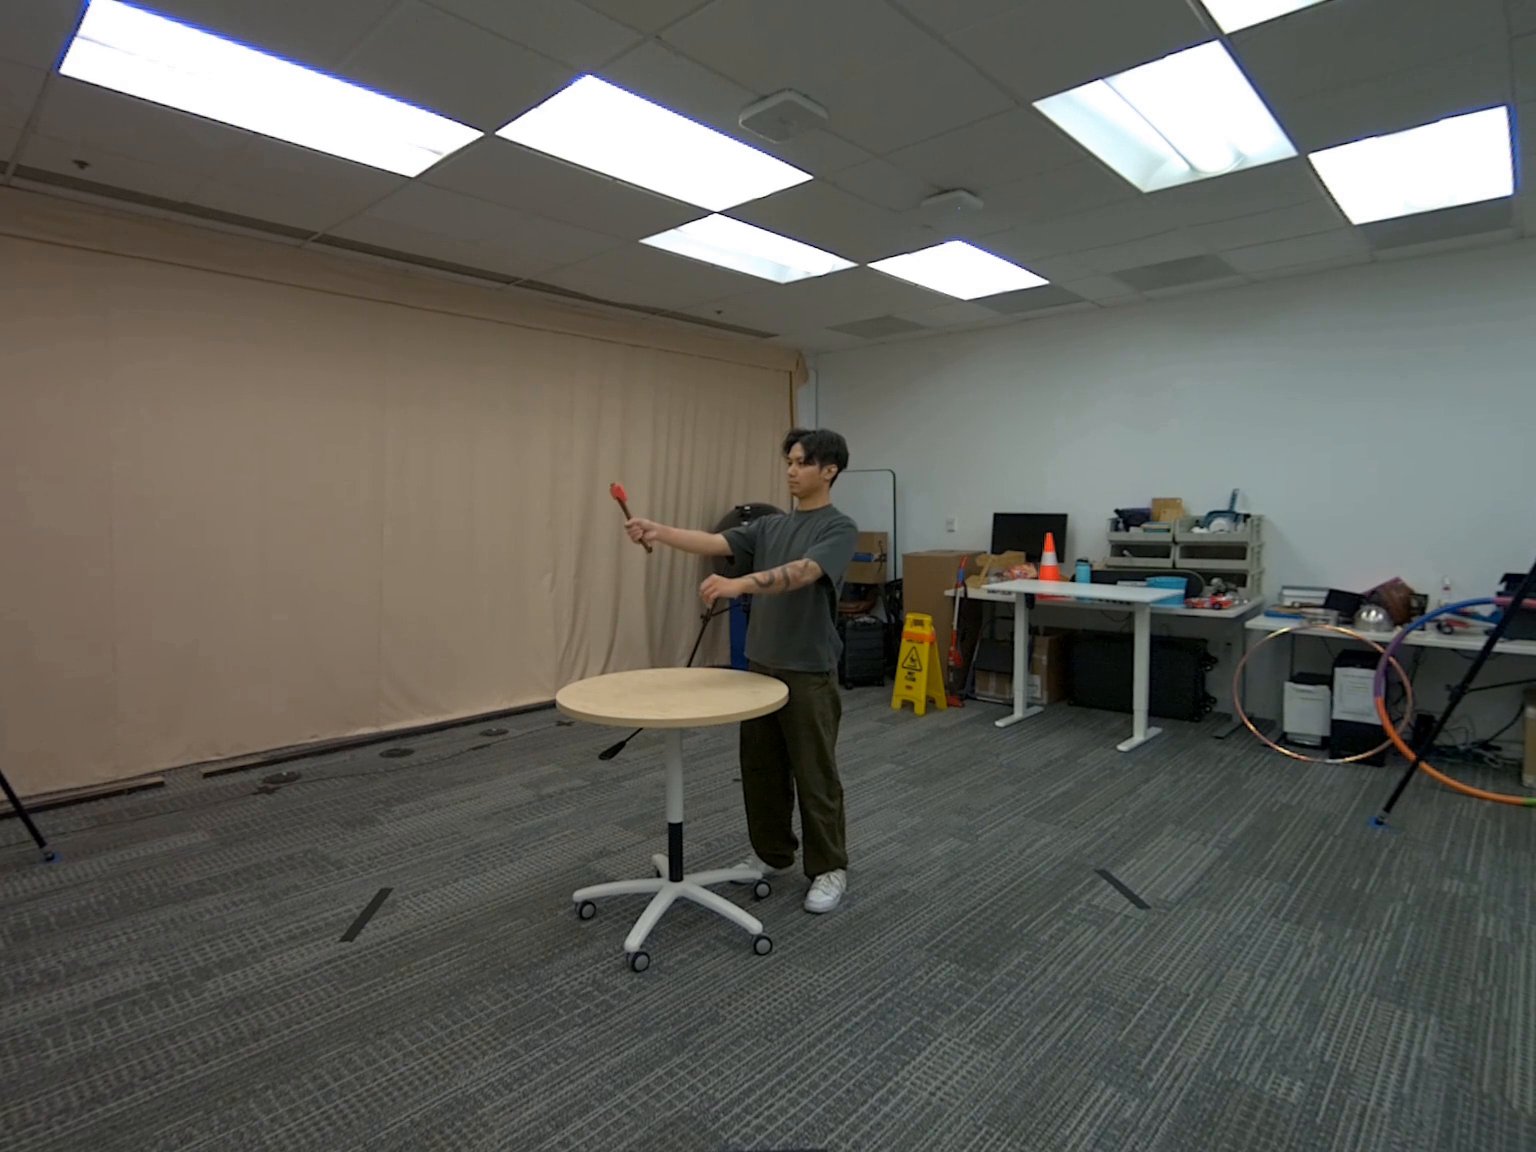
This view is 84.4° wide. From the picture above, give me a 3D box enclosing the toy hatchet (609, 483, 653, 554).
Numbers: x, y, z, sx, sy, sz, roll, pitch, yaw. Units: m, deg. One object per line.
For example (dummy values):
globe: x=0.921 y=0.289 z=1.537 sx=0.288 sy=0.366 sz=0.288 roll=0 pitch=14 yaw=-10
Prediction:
toy hatchet: x=-0.463 y=-0.206 z=2.899 sx=0.029 sy=0.275 sz=0.130 roll=-30 pitch=-18 yaw=-22
